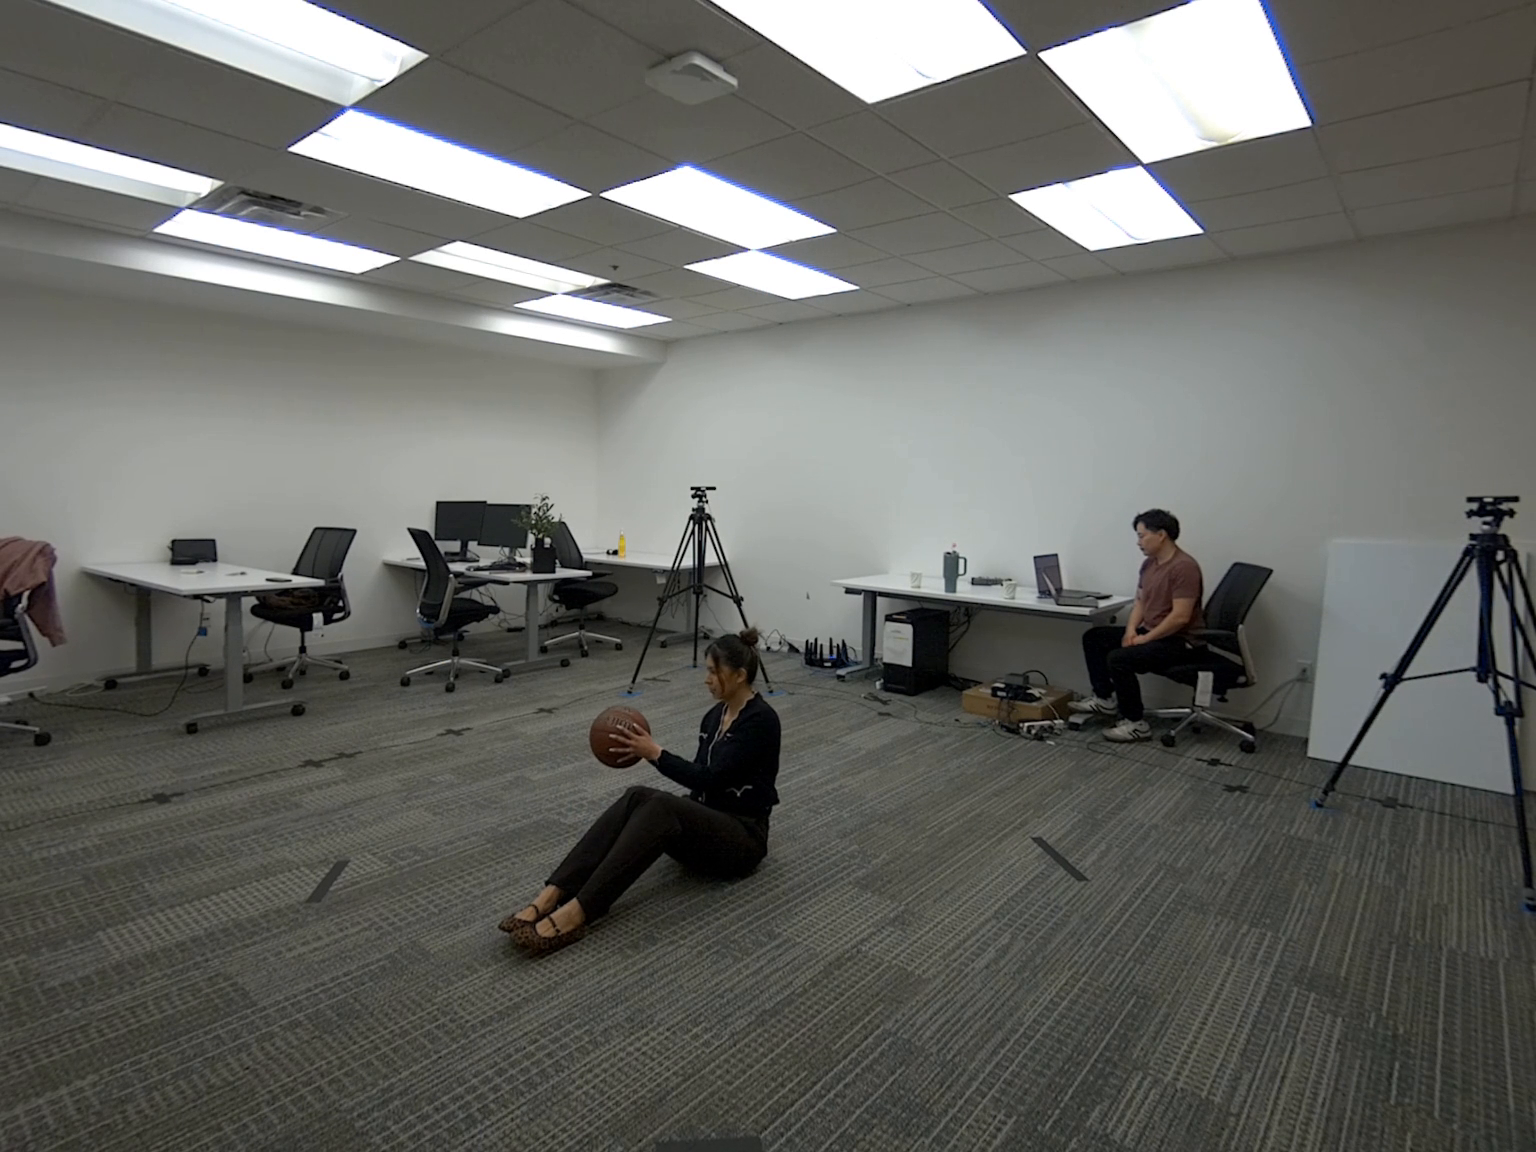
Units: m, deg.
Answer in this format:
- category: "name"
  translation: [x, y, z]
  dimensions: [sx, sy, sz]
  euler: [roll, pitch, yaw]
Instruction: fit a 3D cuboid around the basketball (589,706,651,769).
- category: "basketball"
  translation: [-0.578, 0.626, 3.289]
  dimensions: [0.235, 0.235, 0.237]
  euler: [1, 4, -2]
